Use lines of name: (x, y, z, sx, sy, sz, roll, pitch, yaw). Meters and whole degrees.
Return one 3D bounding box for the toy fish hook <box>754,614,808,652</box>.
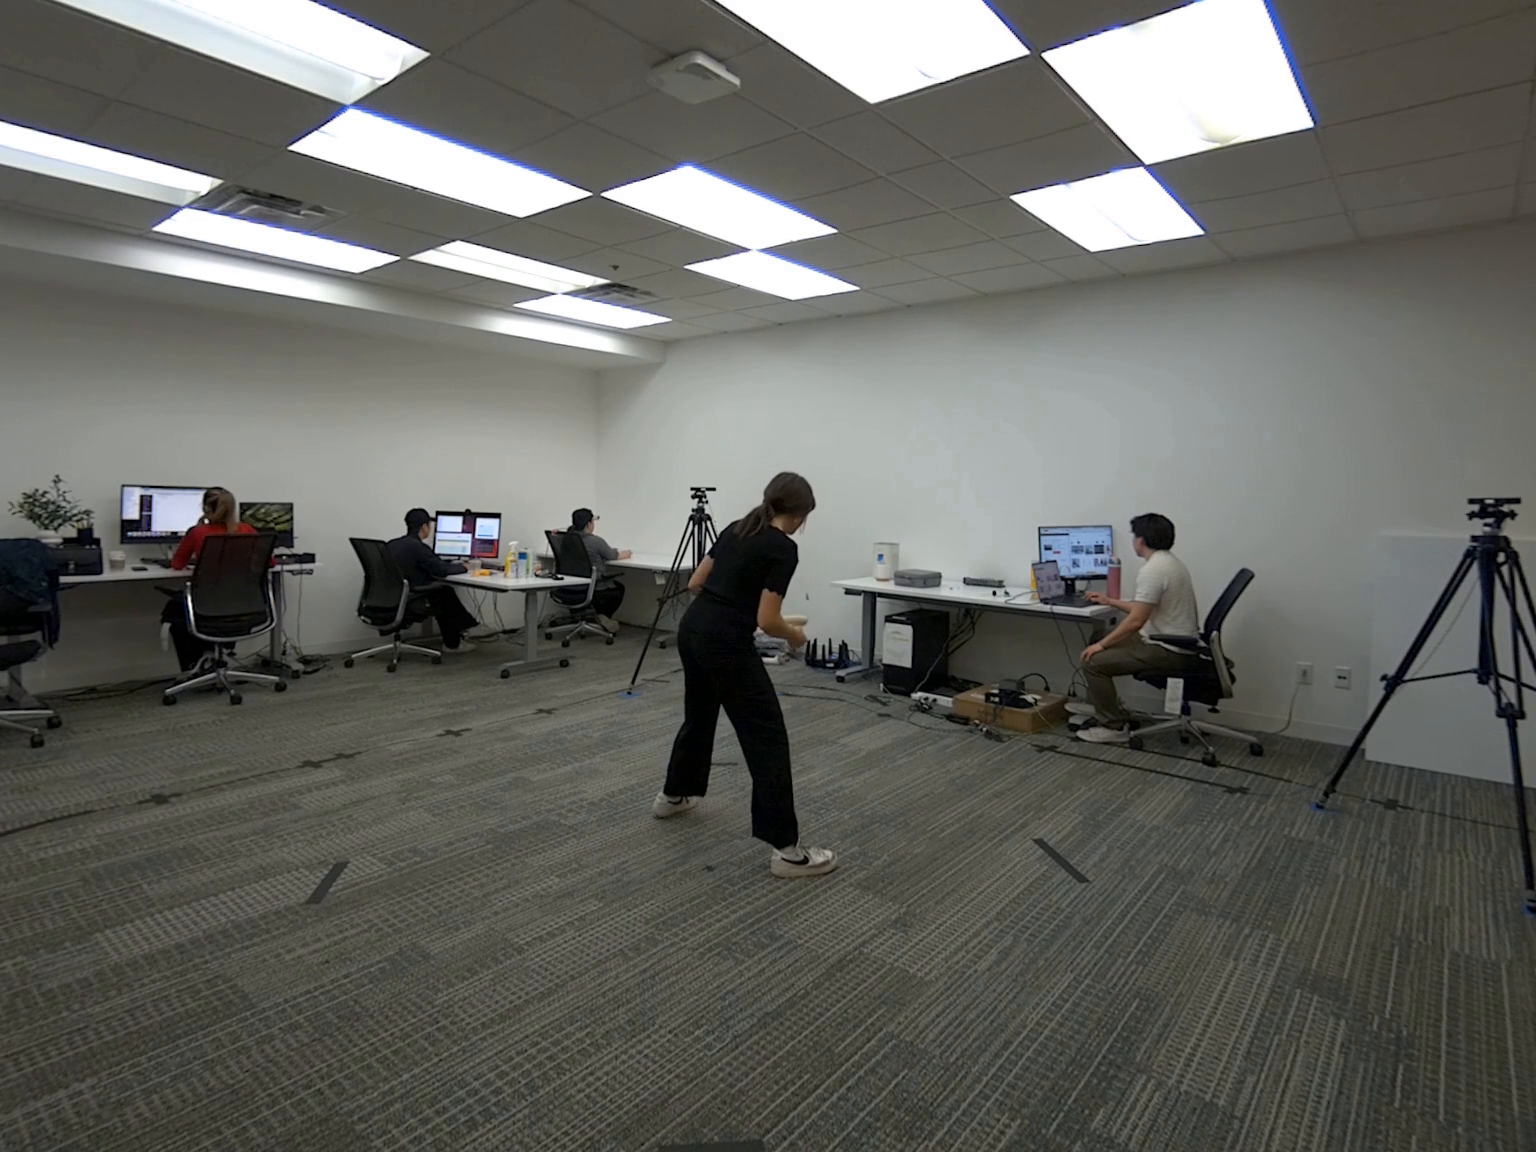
toy fish hook: (-0.049, 0.234, 3.734, 0.227, 0.049, 0.489, -29, -20, 32)
